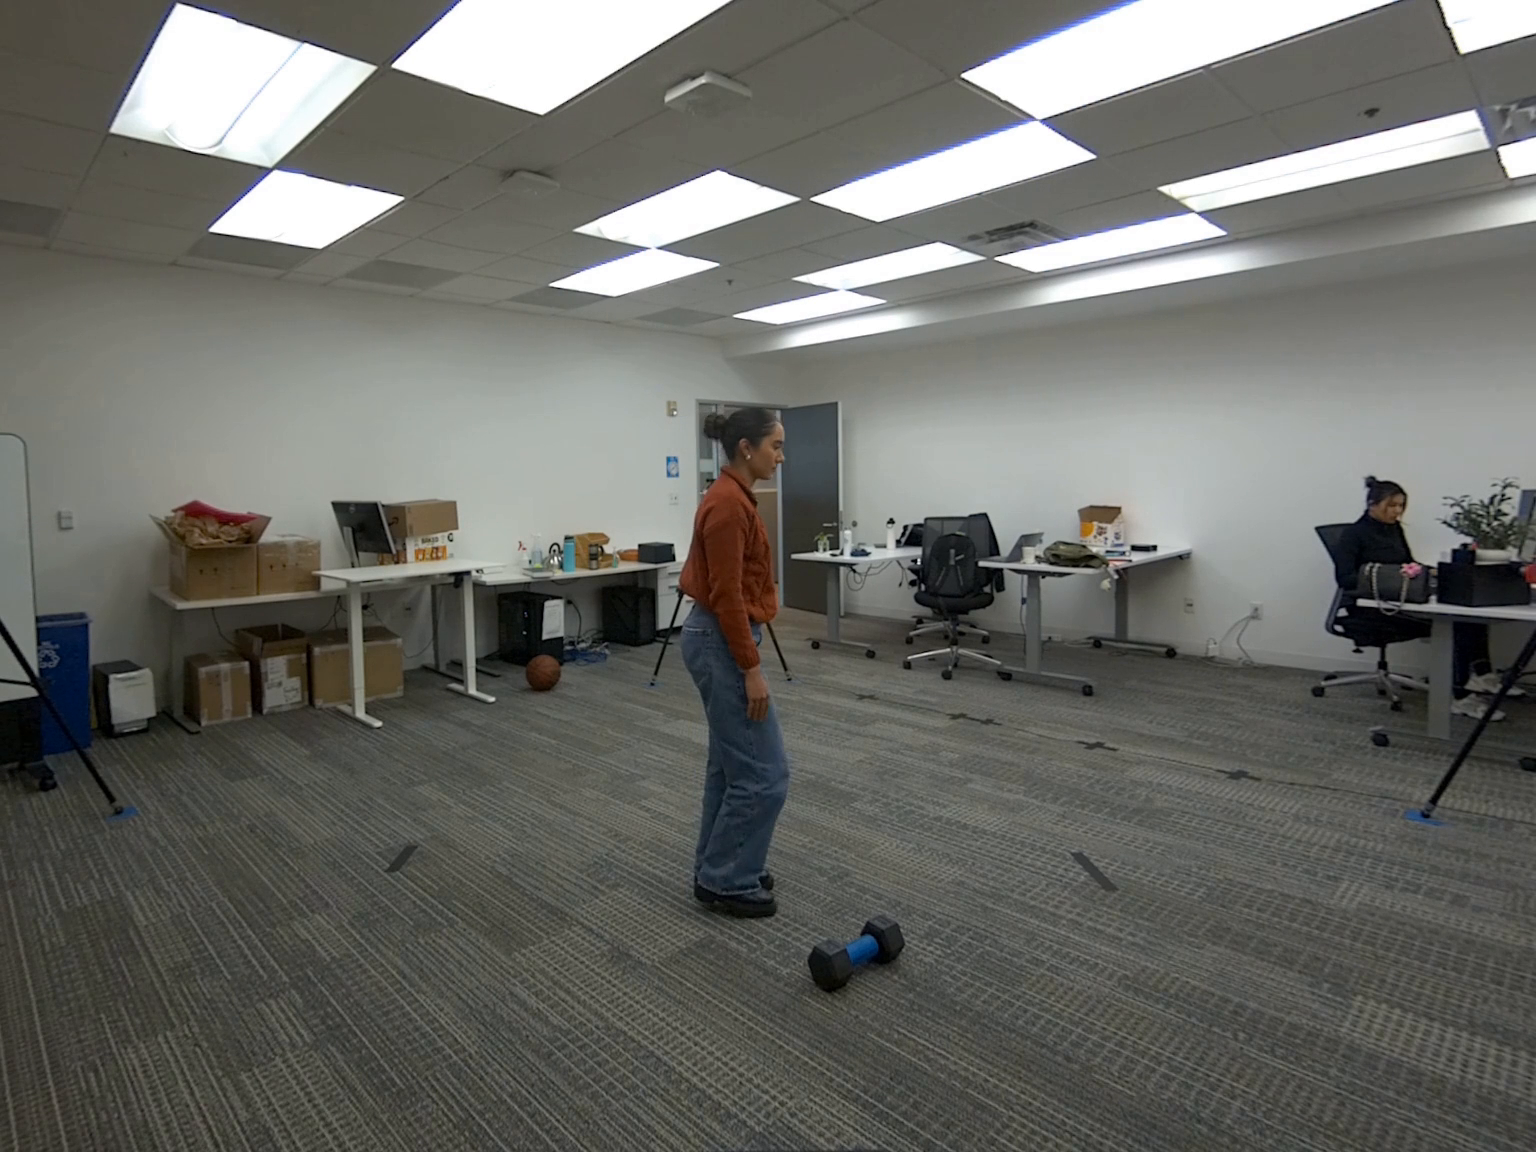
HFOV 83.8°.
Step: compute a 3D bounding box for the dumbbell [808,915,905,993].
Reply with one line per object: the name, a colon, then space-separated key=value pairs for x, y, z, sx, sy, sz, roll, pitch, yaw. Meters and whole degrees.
dumbbell: x=0.259 y=1.065 z=2.418 sx=0.286 sy=0.126 sz=0.109 roll=-6 pitch=-23 yaw=-39
